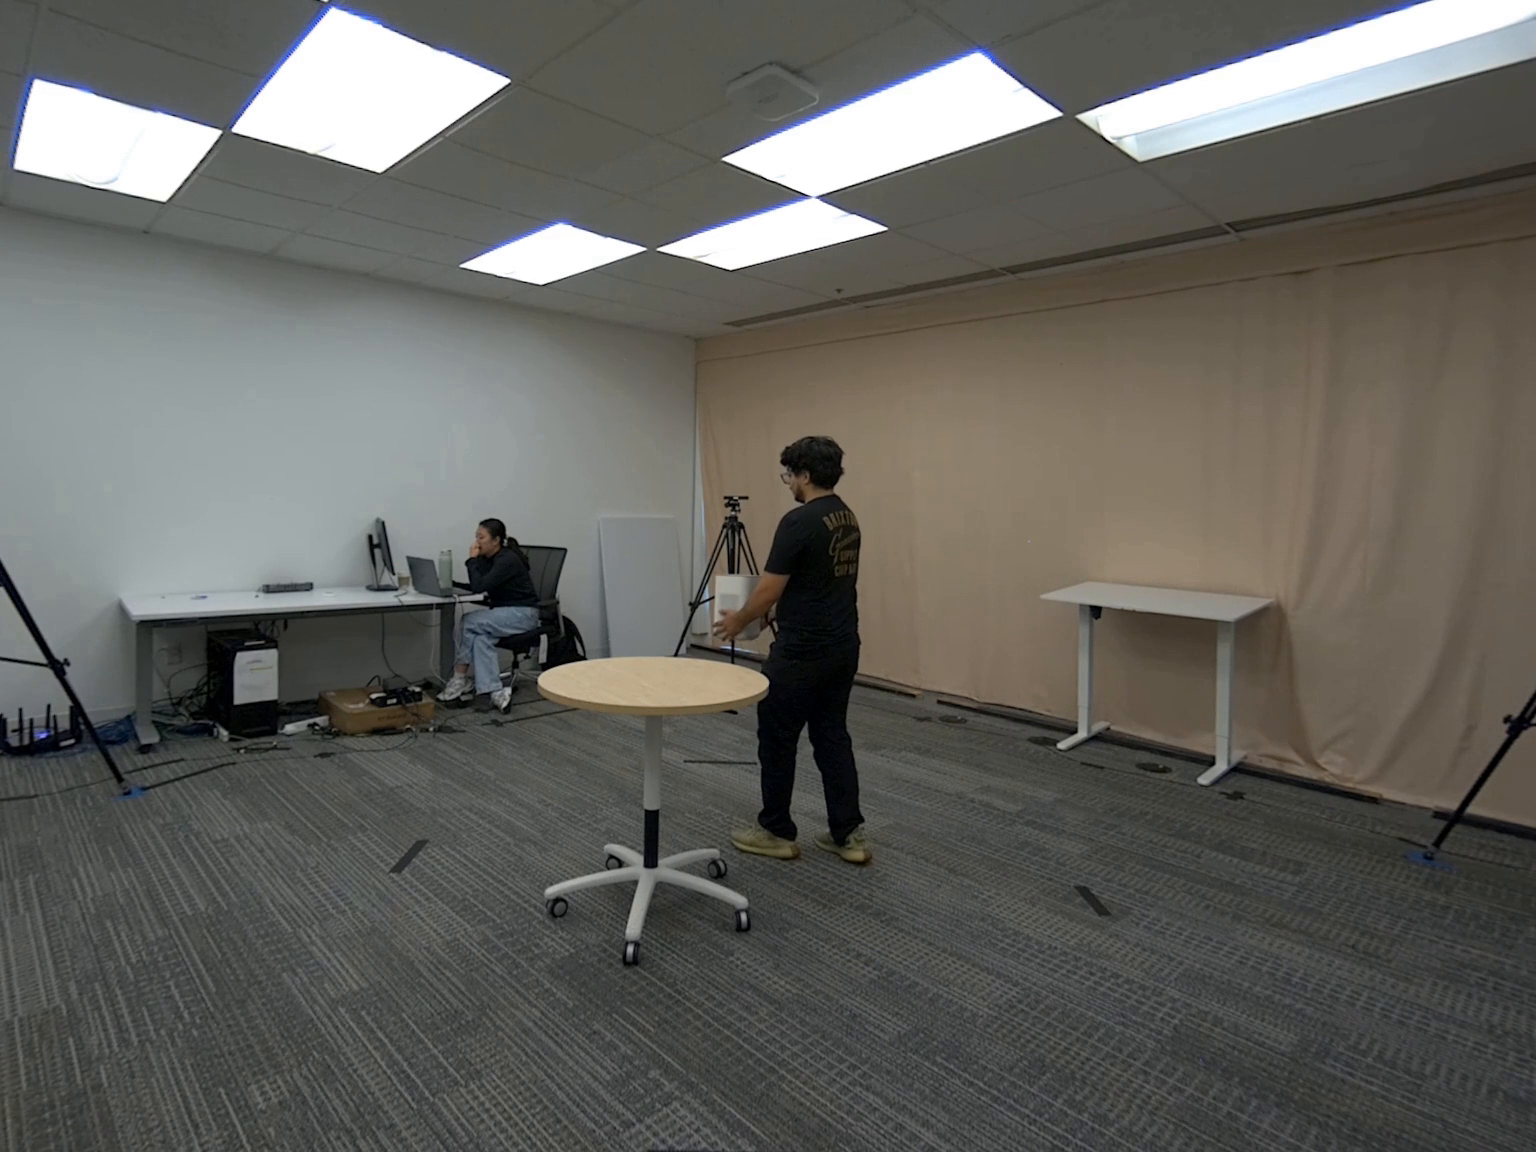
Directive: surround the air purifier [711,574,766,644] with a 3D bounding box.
[{"bbox_3d":[-0.123,0.125,3.487,0.175,0.265,0.168,1,0,26],"label":"air purifier"}]
